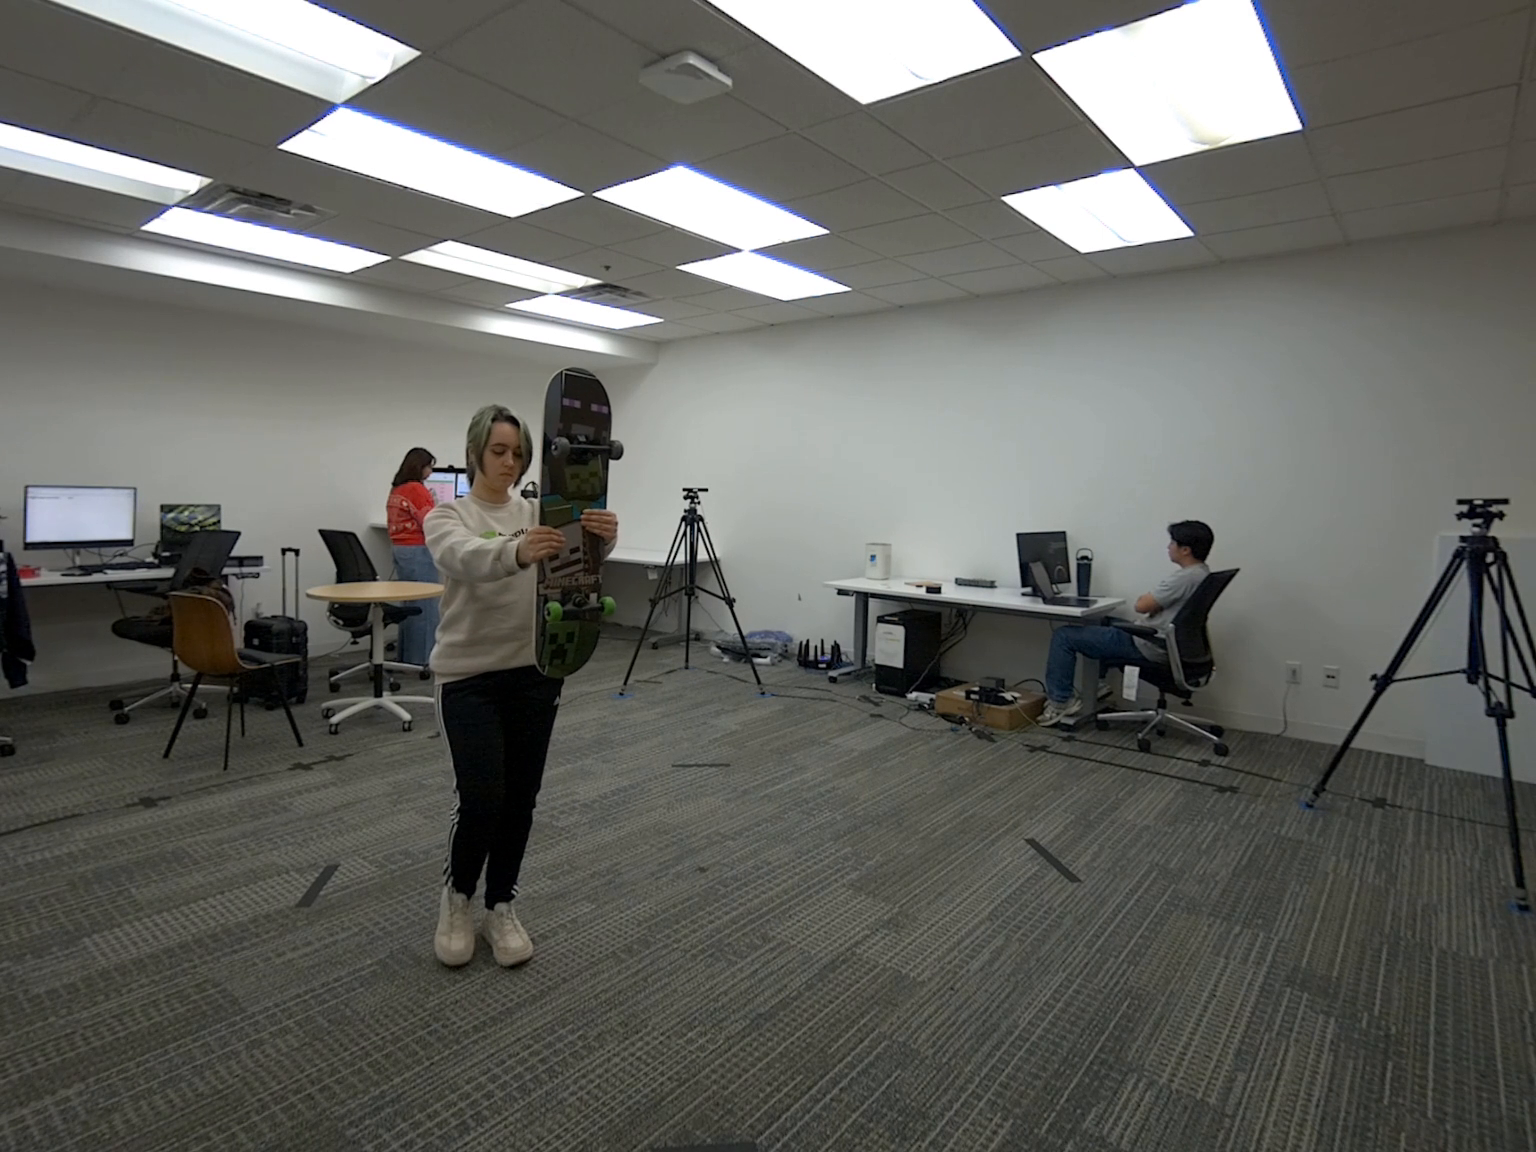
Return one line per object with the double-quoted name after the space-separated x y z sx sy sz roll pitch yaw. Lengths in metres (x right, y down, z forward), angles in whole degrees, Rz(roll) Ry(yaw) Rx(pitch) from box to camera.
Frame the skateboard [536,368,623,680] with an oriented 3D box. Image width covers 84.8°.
-0.480 -0.119 2.111 0.187 0.780 0.114 -2 10 -42 "skateboard"
